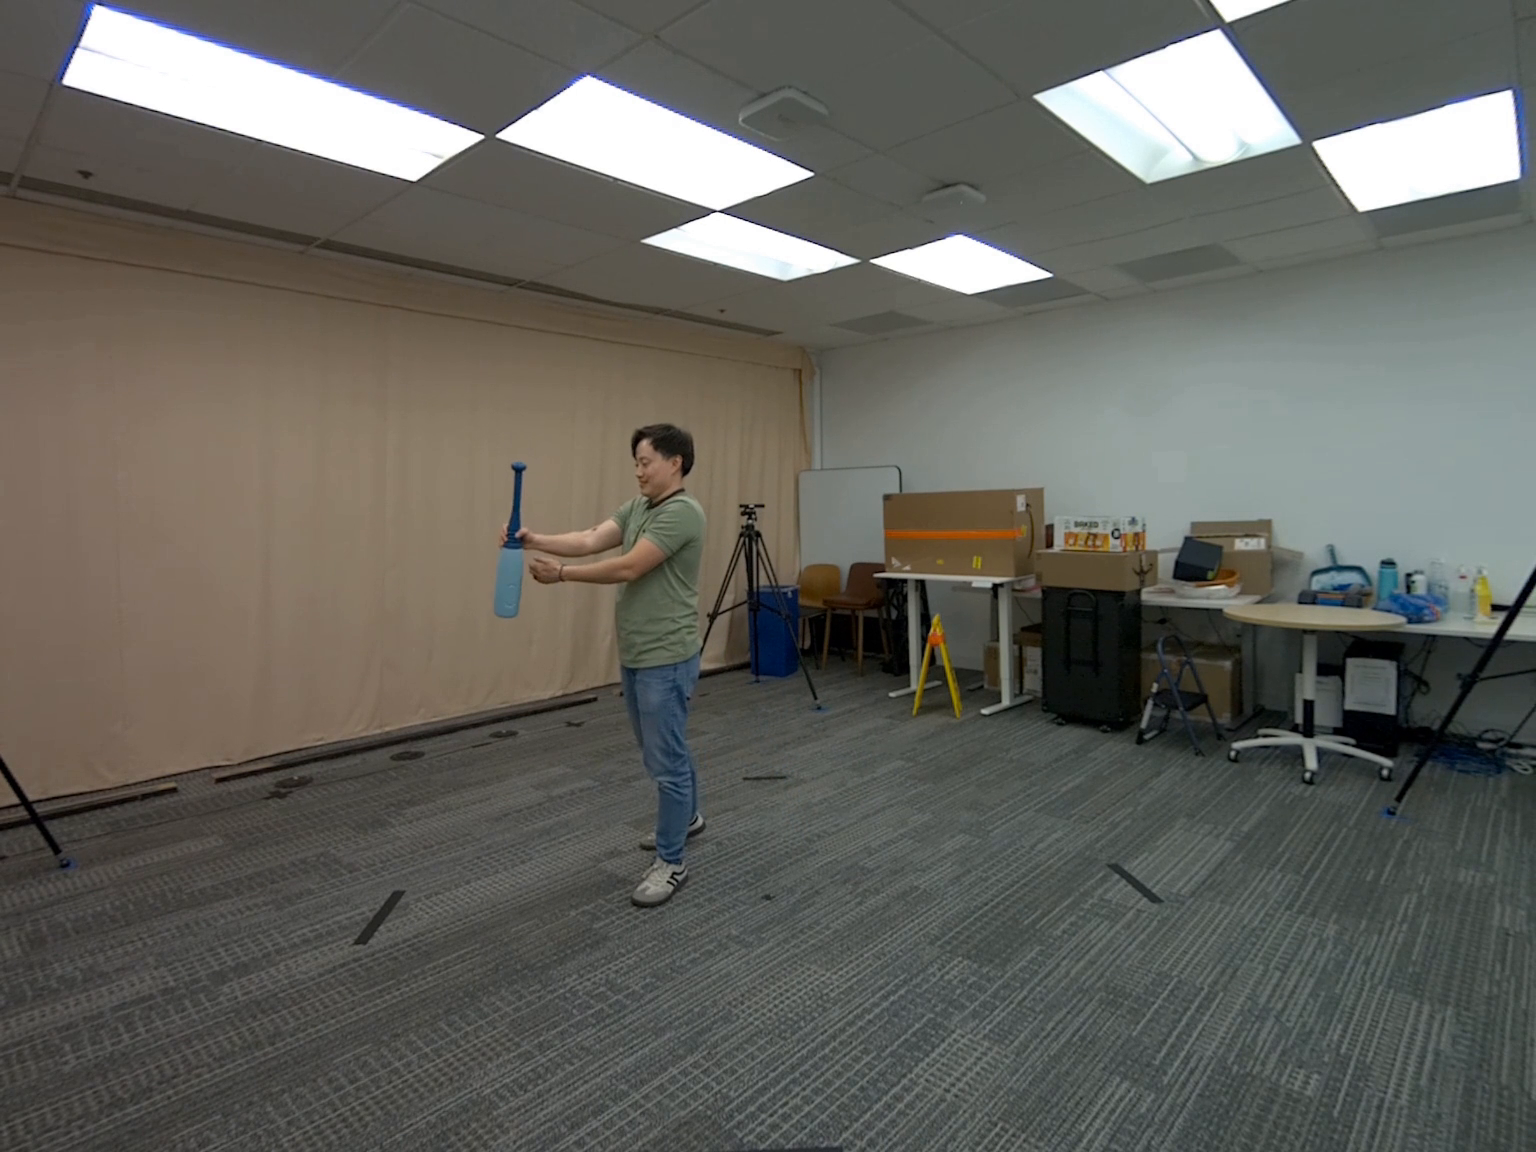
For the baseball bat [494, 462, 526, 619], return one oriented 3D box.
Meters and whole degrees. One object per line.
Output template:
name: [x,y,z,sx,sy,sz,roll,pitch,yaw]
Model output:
baseball bat: [-0.876,-0.123,2.890,0.089,0.540,0.090,9,12,-4]
